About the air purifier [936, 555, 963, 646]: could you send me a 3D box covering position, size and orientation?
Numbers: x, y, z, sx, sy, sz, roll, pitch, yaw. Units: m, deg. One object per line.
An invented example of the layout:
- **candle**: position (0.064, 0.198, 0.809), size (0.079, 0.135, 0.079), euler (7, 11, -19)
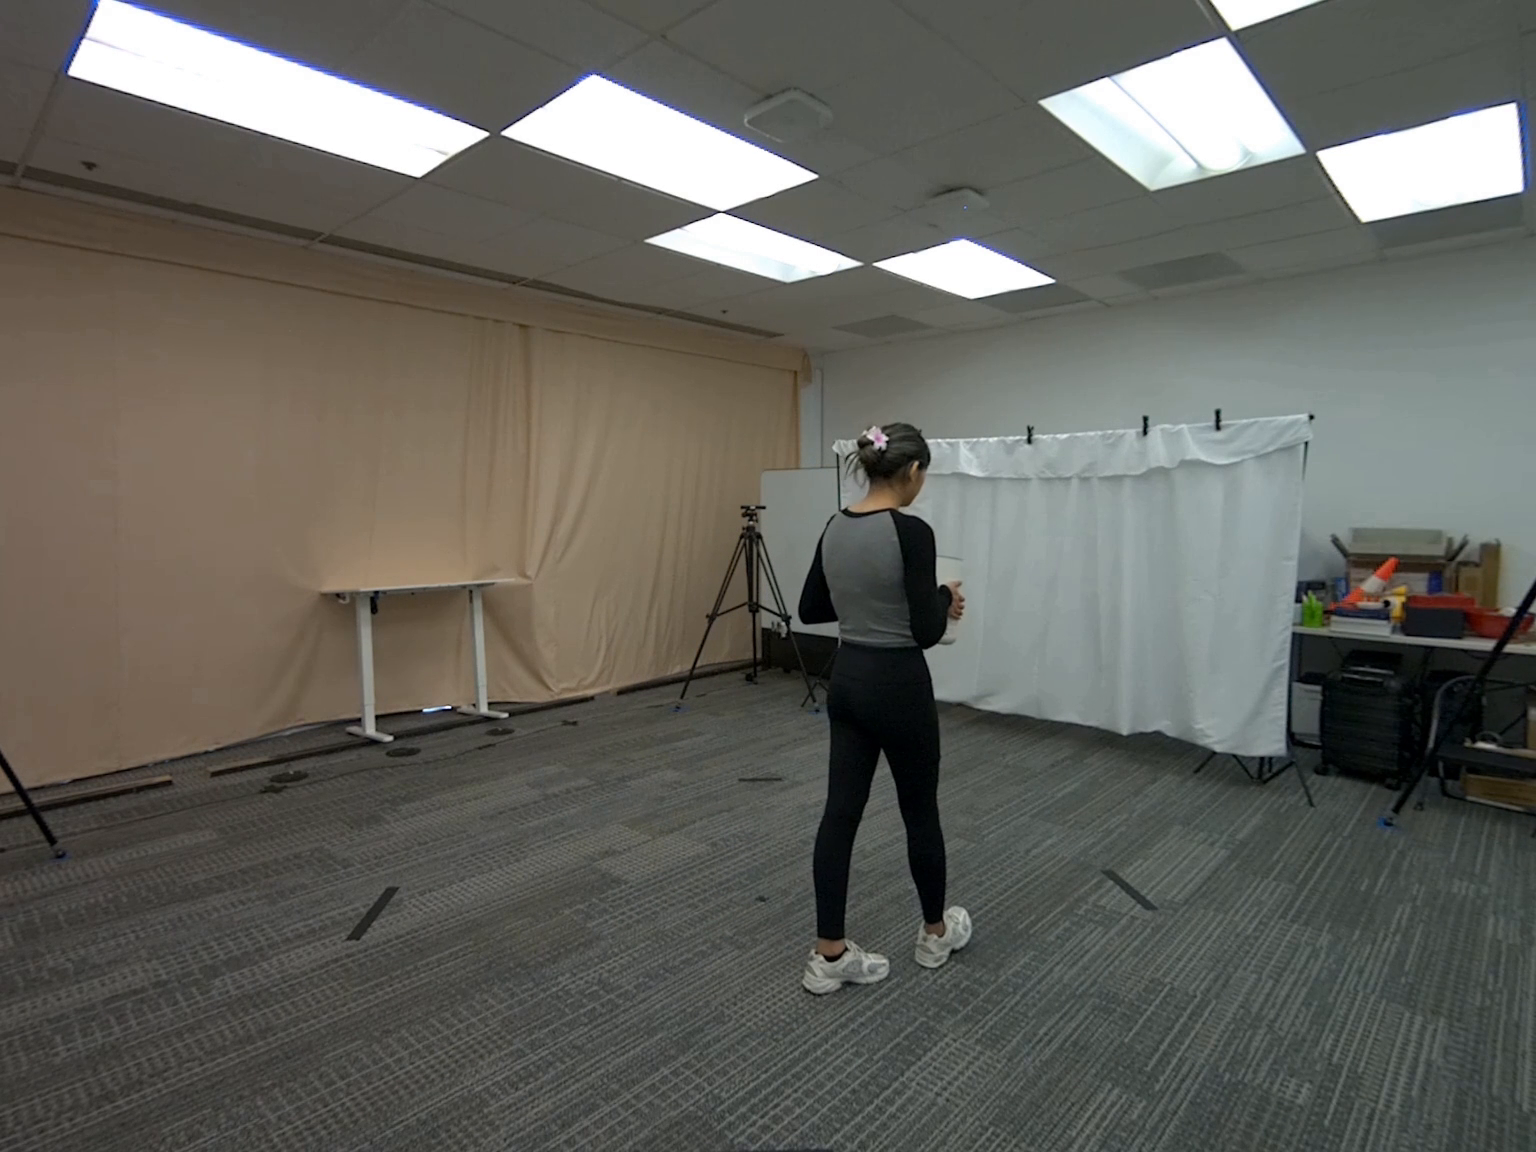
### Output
- **air purifier**: position (0.495, 0.071, 2.567), size (0.165, 0.266, 0.177), euler (7, -3, -36)
